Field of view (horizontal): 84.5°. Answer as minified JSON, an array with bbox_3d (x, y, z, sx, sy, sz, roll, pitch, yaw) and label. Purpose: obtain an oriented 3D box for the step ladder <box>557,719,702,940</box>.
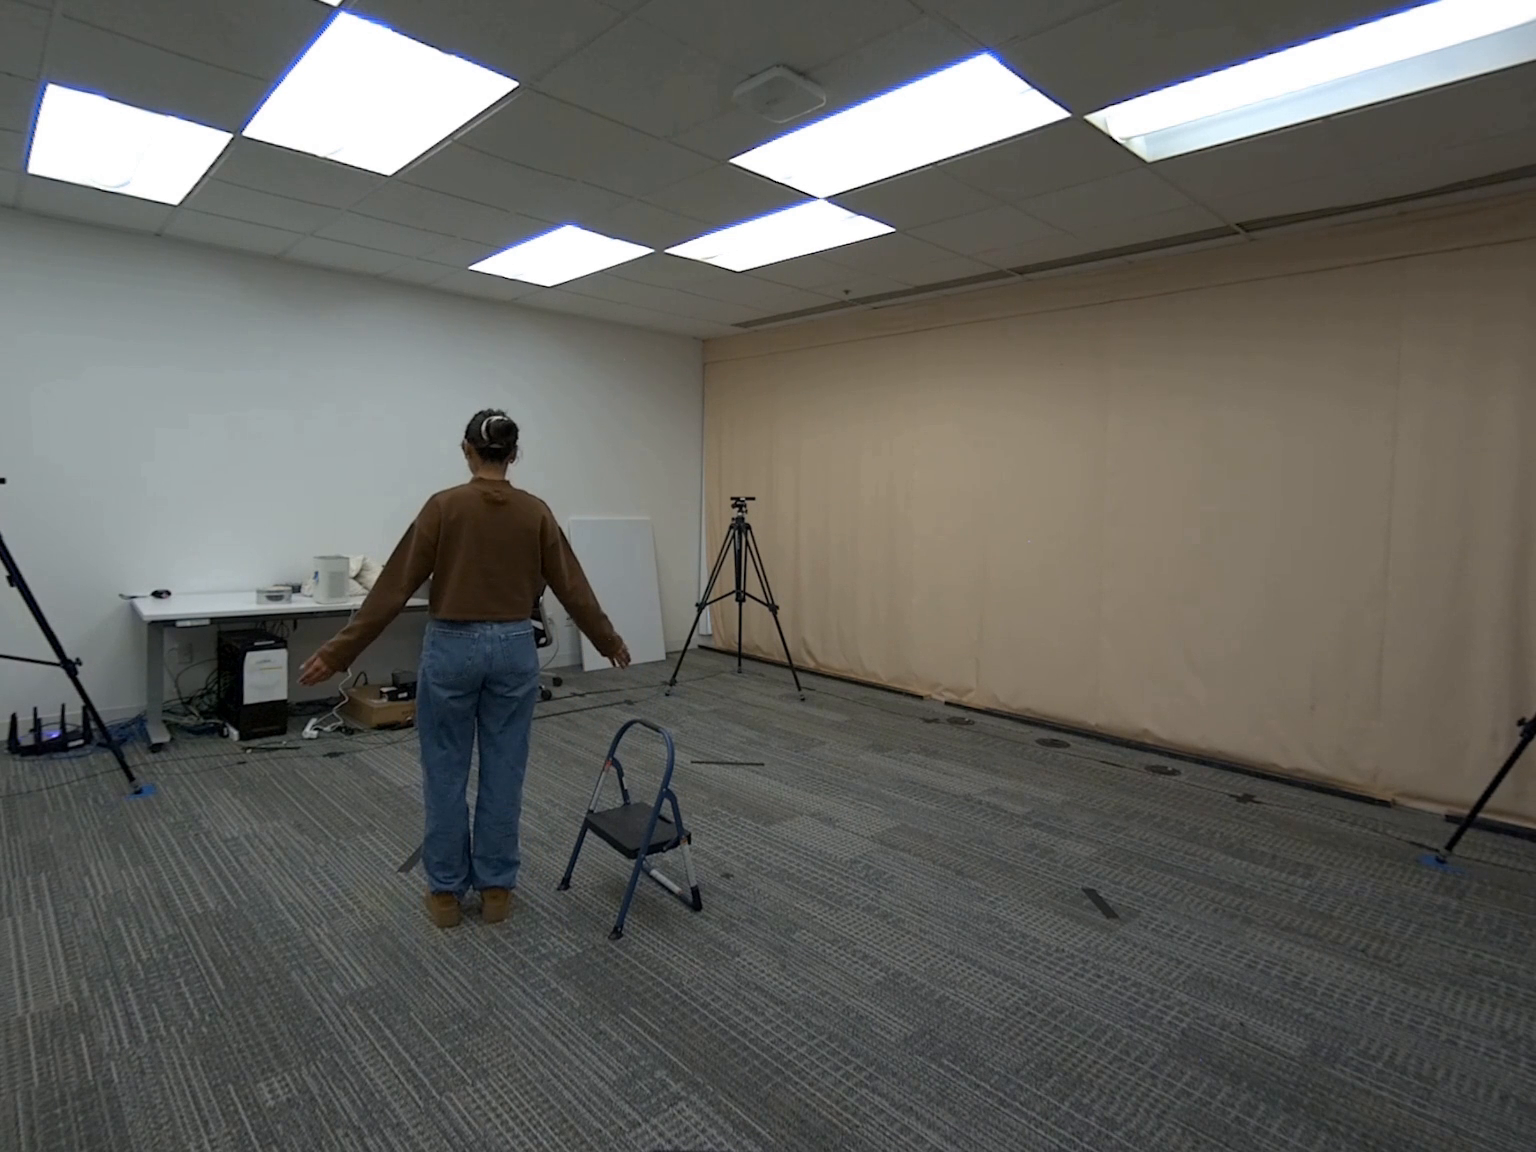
[{"bbox_3d":[-0.478,0.817,2.888,0.341,0.604,0.441,-1,4,-38],"label":"step ladder"}]
